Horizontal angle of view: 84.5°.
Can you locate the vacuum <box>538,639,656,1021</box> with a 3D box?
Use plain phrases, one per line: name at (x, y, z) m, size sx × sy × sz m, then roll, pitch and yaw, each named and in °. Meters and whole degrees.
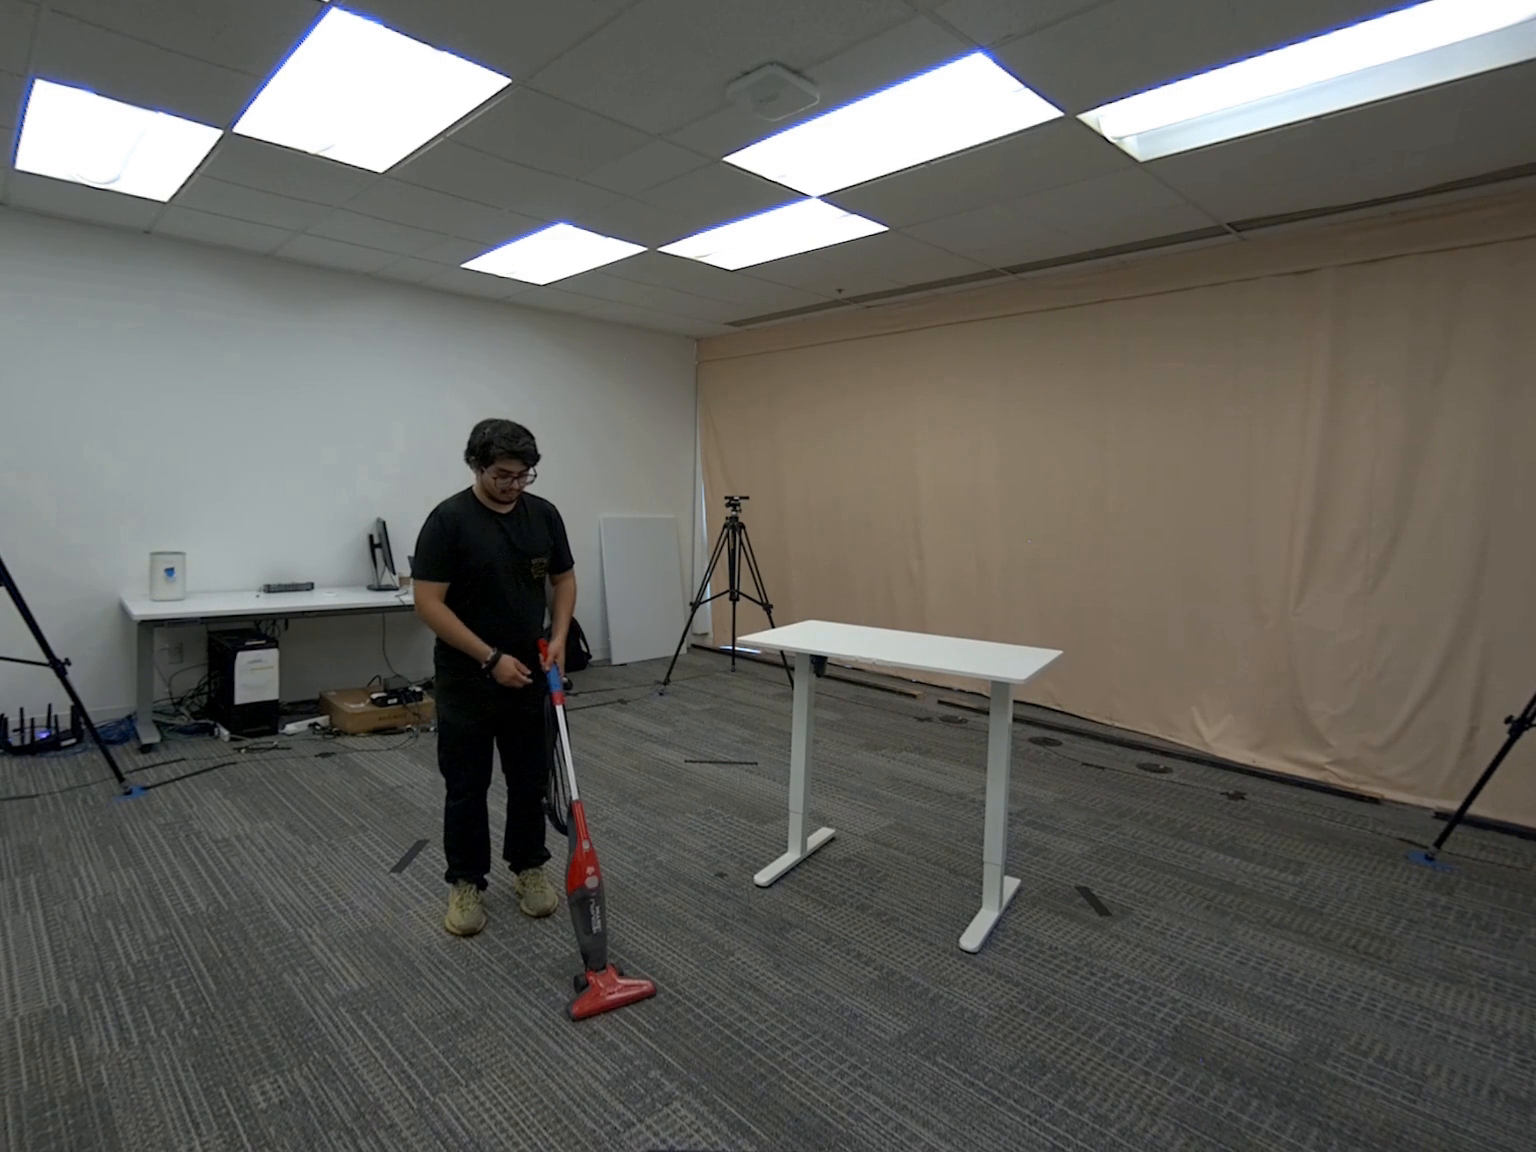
vacuum at (-0.594, 0.699, 2.527) m, size 0.246 × 1.070 × 0.145 m, roll 3°, pitch -29°, yaw -40°
